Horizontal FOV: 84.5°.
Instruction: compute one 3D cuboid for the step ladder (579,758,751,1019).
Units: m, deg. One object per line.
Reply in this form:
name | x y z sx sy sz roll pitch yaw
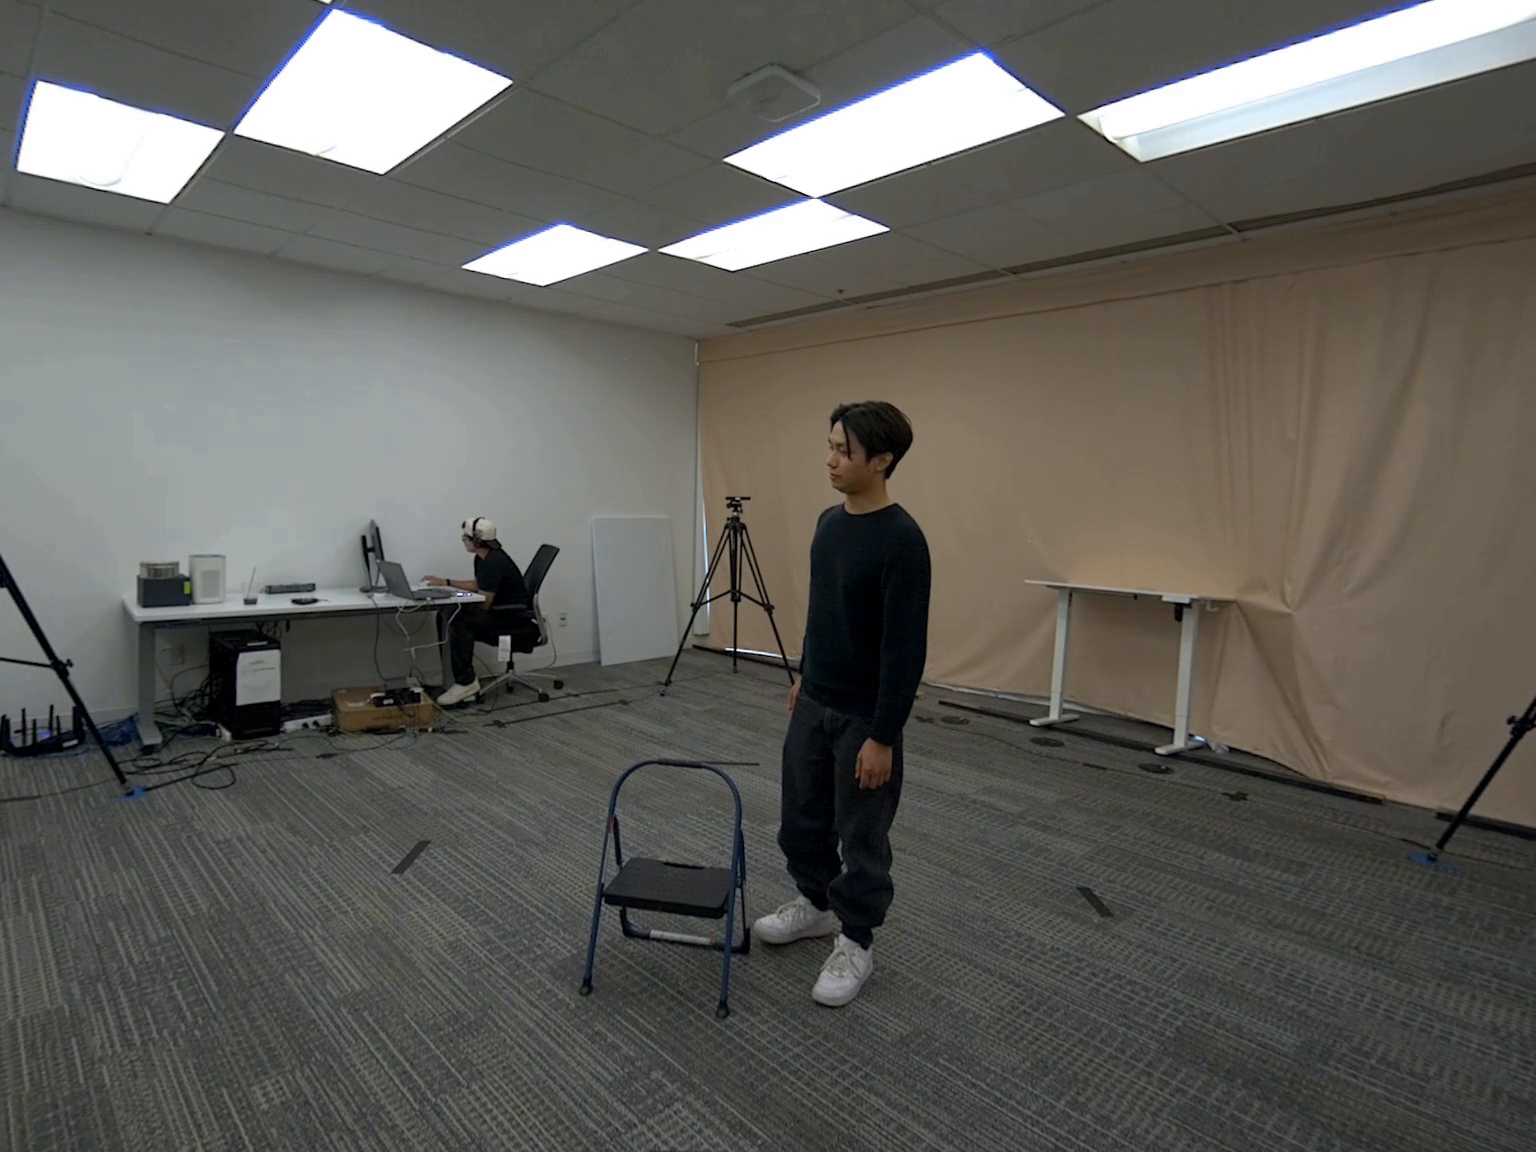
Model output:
step ladder | -0.283 0.854 2.457 0.435 0.605 0.347 3 3 11
